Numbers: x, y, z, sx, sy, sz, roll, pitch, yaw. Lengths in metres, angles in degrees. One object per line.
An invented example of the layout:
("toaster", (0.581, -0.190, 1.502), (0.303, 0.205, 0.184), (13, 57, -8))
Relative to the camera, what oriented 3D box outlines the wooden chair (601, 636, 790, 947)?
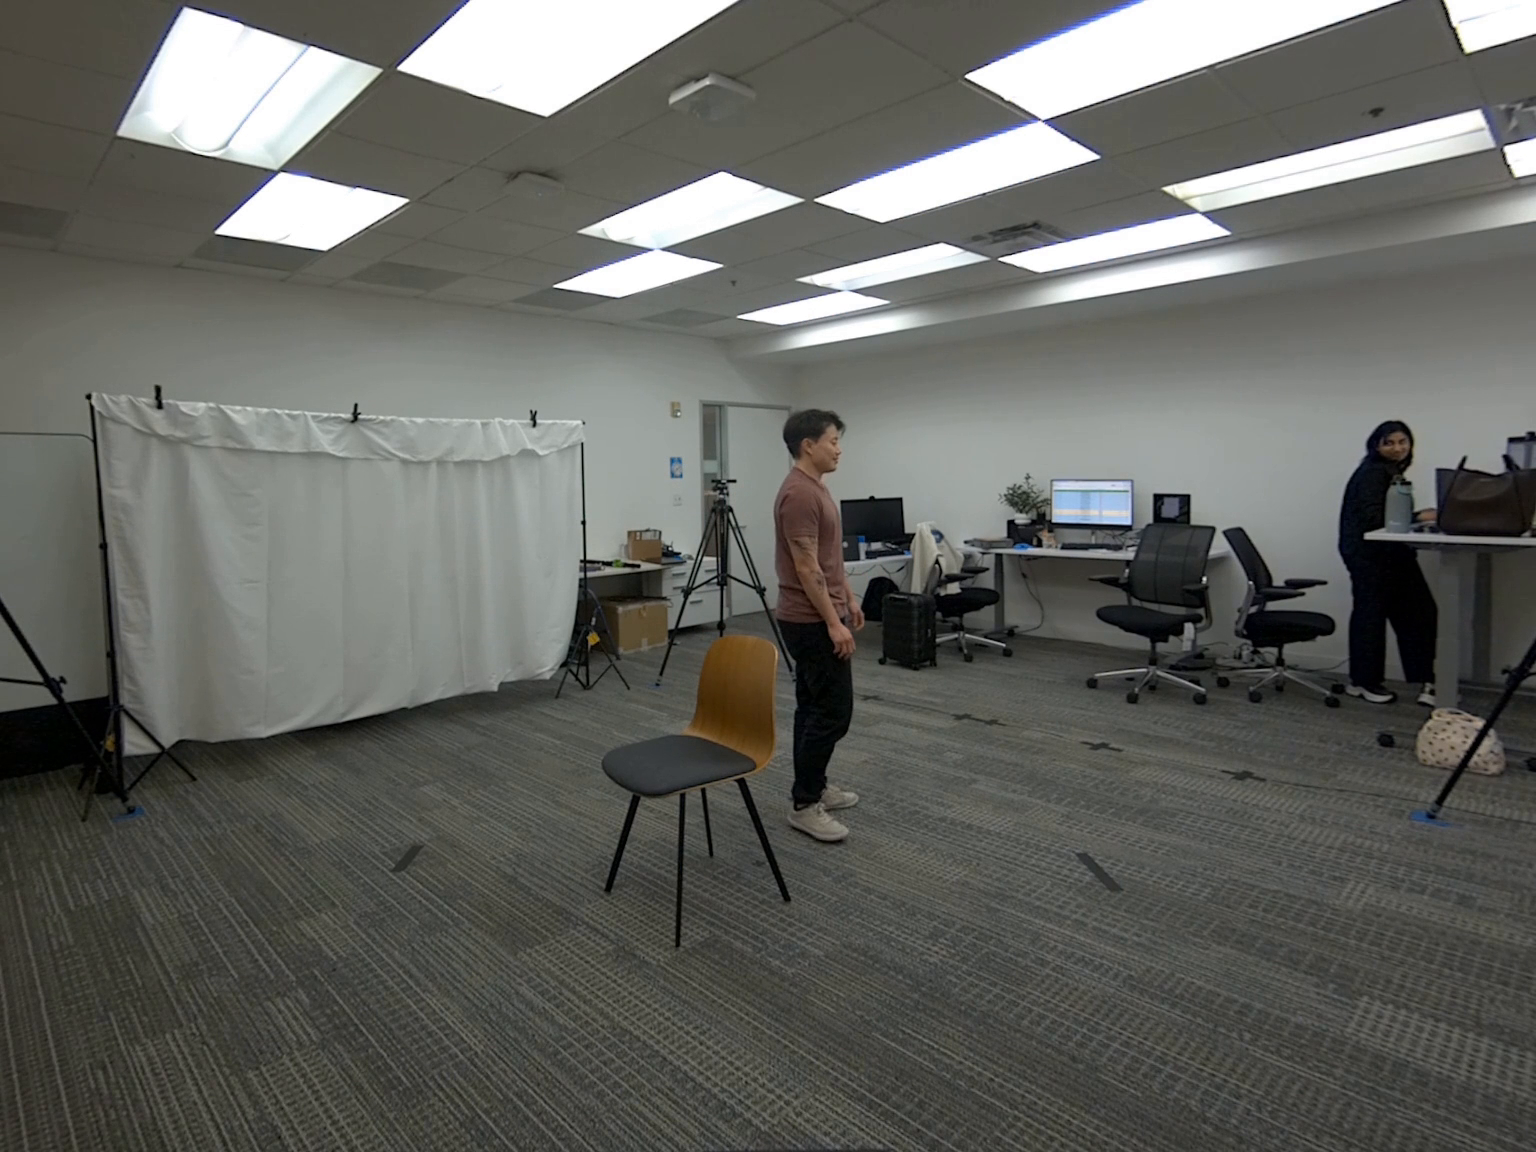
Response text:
("wooden chair", (-0.252, 0.653, 2.833), (0.508, 0.876, 0.492), (1, 2, -38))
